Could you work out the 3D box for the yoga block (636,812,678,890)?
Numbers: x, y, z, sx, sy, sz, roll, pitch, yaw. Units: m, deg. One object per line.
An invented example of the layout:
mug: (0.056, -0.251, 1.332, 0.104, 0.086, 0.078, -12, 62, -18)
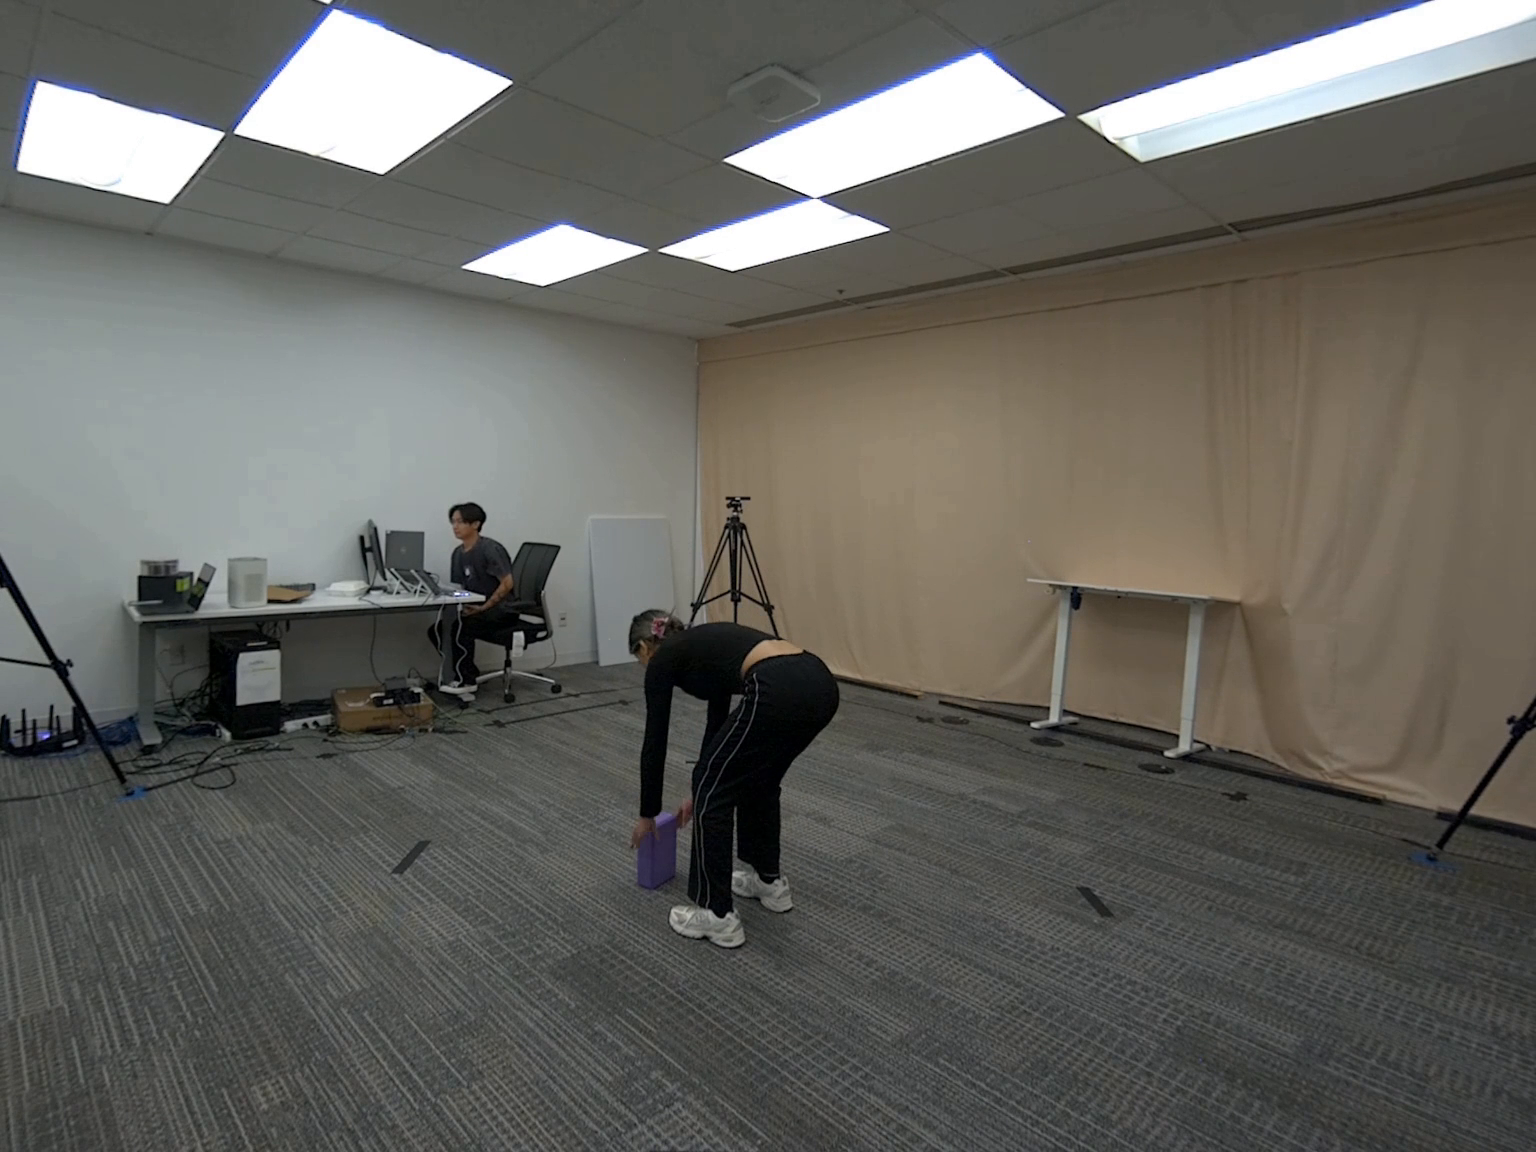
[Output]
yoga block: (-0.402, 0.989, 3.045, 0.078, 0.229, 0.146, 5, 5, 26)
